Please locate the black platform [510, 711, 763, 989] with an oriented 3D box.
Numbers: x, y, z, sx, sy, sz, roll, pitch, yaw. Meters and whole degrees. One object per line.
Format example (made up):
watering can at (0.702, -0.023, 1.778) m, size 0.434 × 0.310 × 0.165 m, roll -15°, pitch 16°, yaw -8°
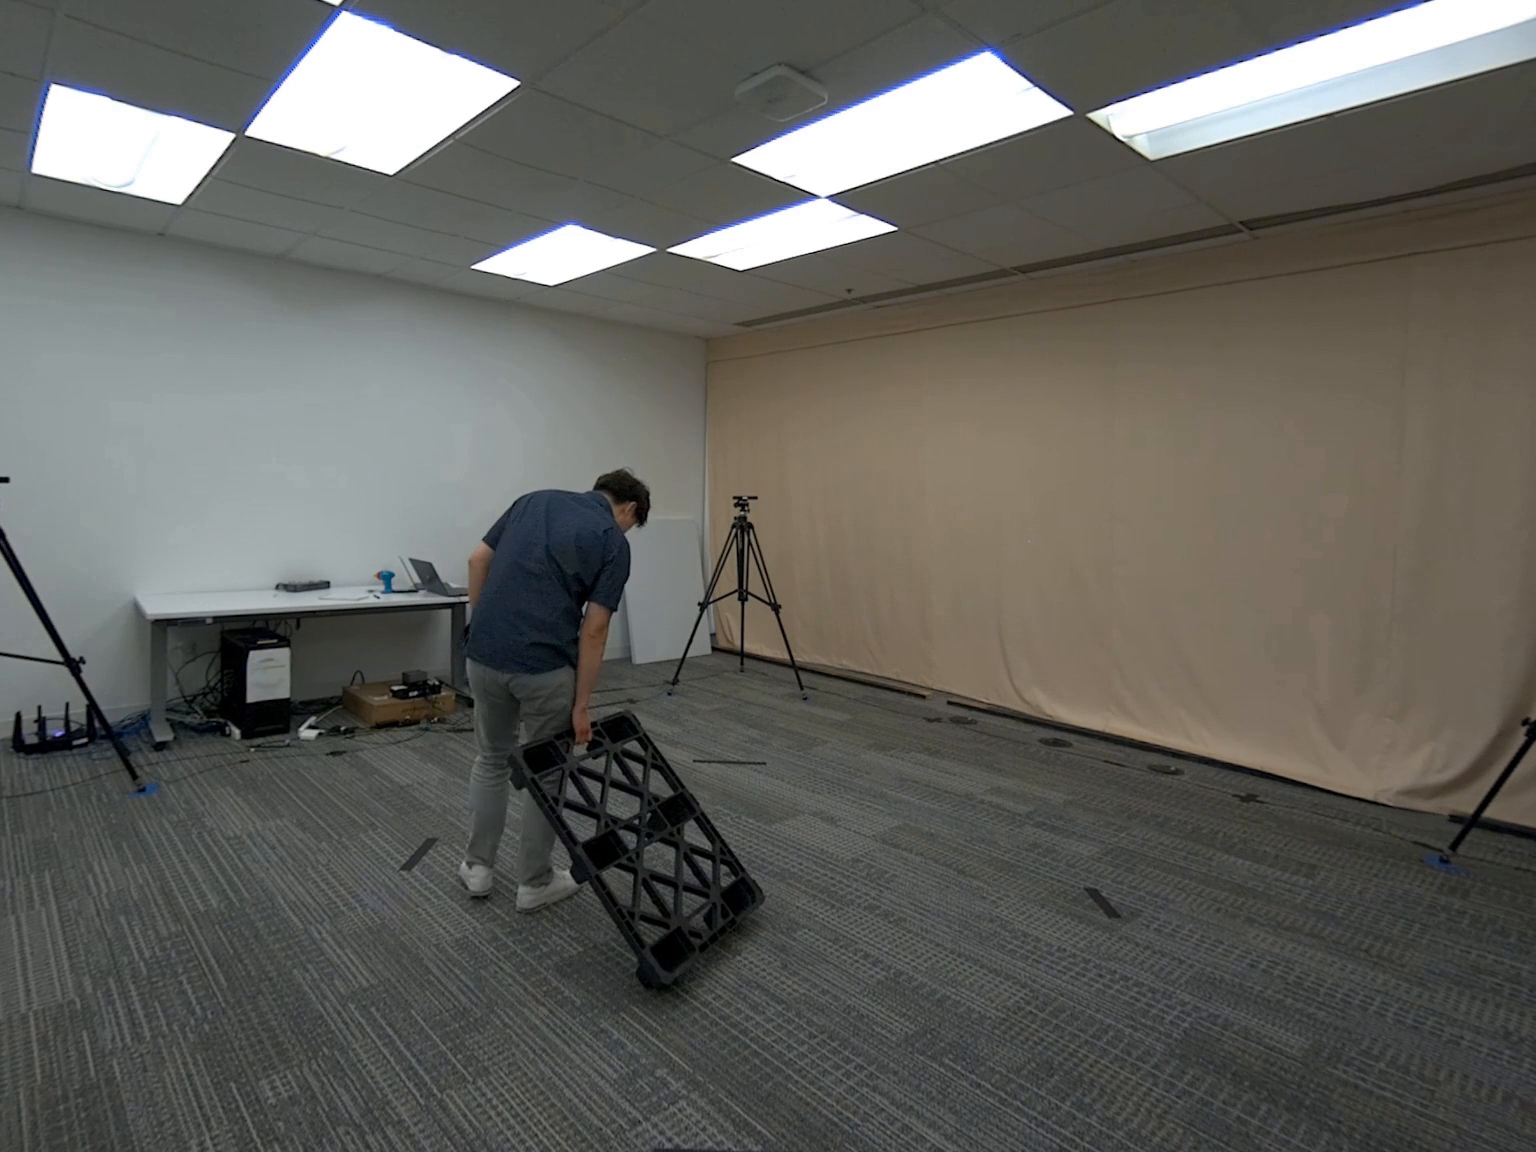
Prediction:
black platform at (-0.435, 0.839, 2.666) m, size 0.821 × 0.143 × 0.594 m, roll 50°, pitch 24°, yaw 17°
